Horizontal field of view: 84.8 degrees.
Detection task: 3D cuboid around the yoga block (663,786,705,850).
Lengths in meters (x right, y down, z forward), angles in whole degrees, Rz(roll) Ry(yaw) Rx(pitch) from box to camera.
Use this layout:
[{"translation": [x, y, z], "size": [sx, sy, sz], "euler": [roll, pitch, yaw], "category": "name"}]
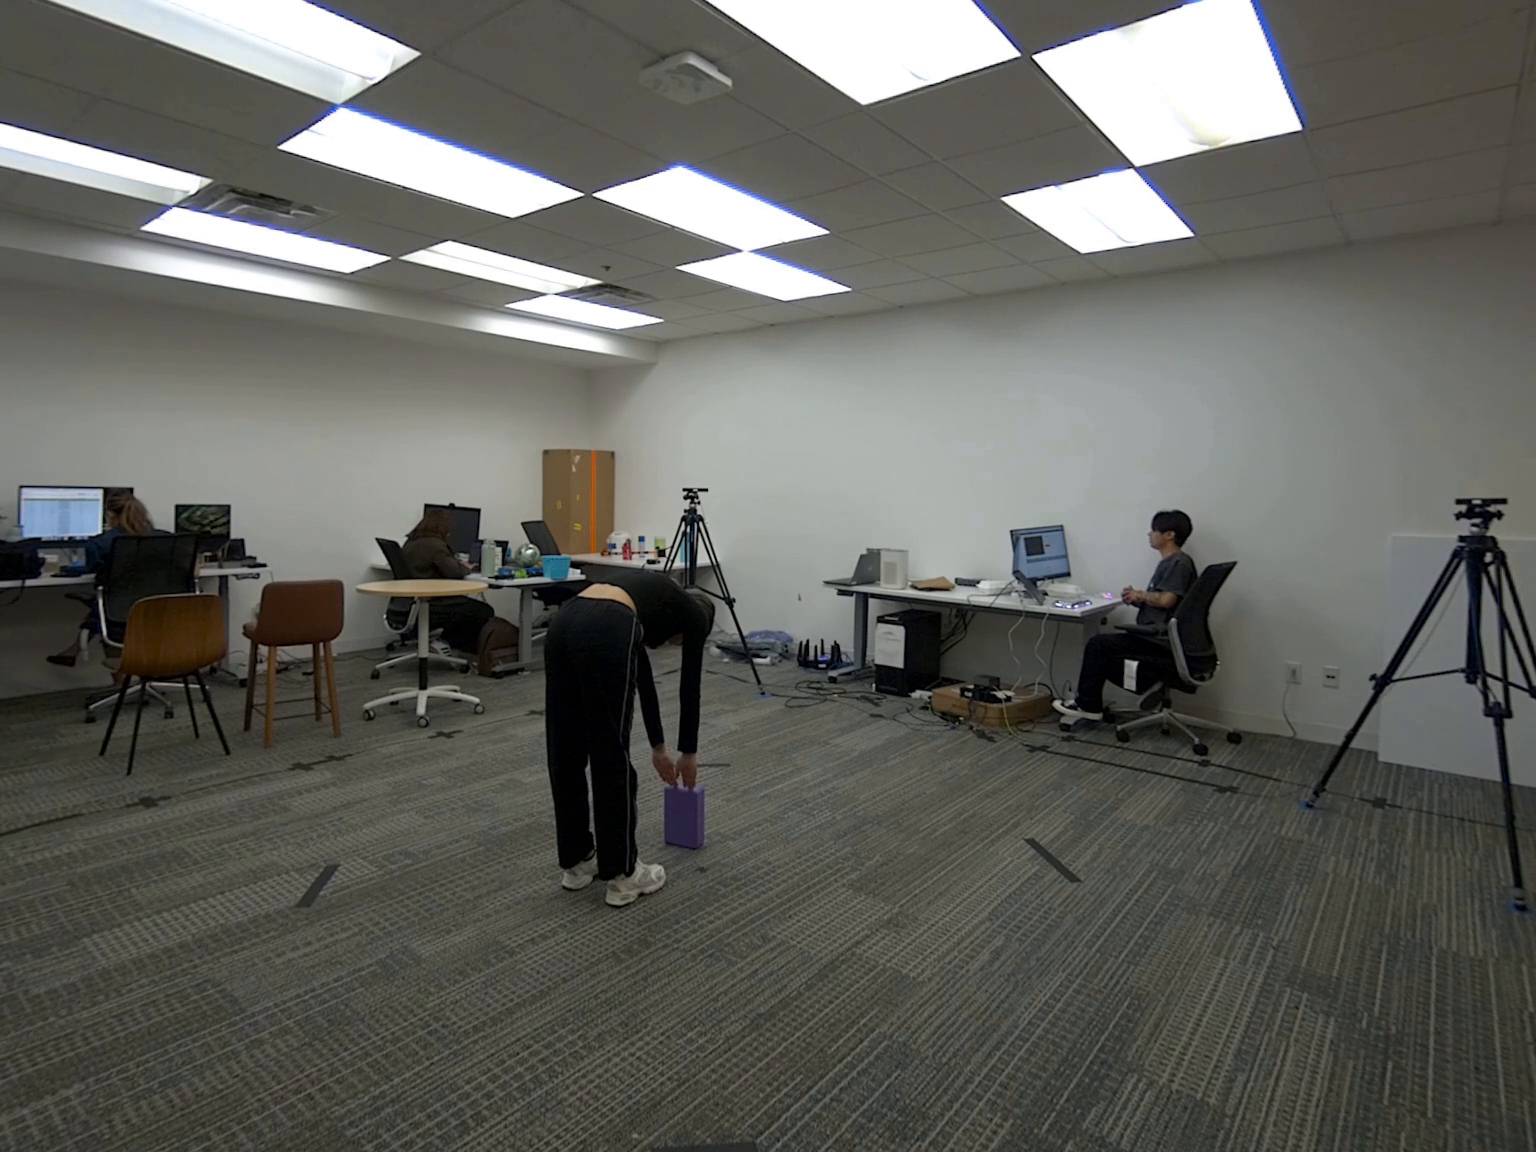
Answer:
[{"translation": [-0.342, 0.932, 3.328], "size": [0.153, 0.228, 0.075], "euler": [1, 5, 24], "category": "yoga block"}]
